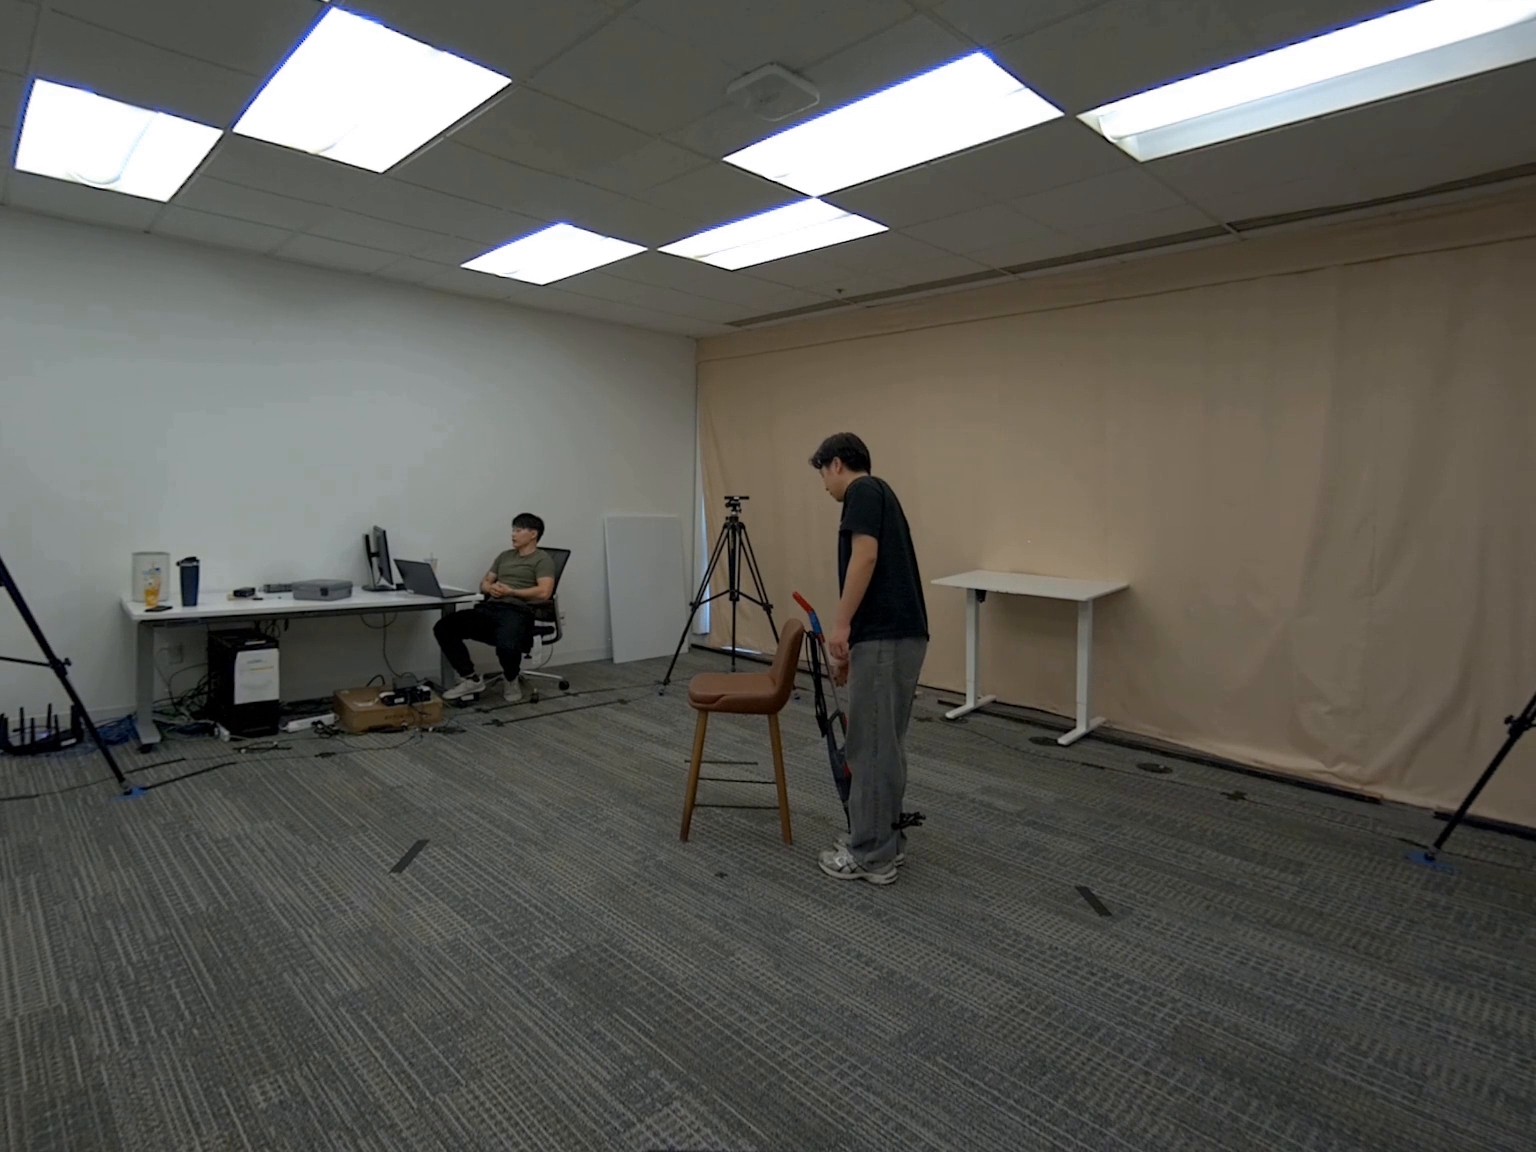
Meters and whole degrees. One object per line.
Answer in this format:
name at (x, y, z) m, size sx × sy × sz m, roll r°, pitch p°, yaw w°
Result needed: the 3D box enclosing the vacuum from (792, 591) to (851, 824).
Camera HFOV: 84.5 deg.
vacuum at (0.258, 0.577, 3.528) m, size 0.144 × 1.052 × 0.251 m, roll -16°, pitch -2°, yaw 3°
